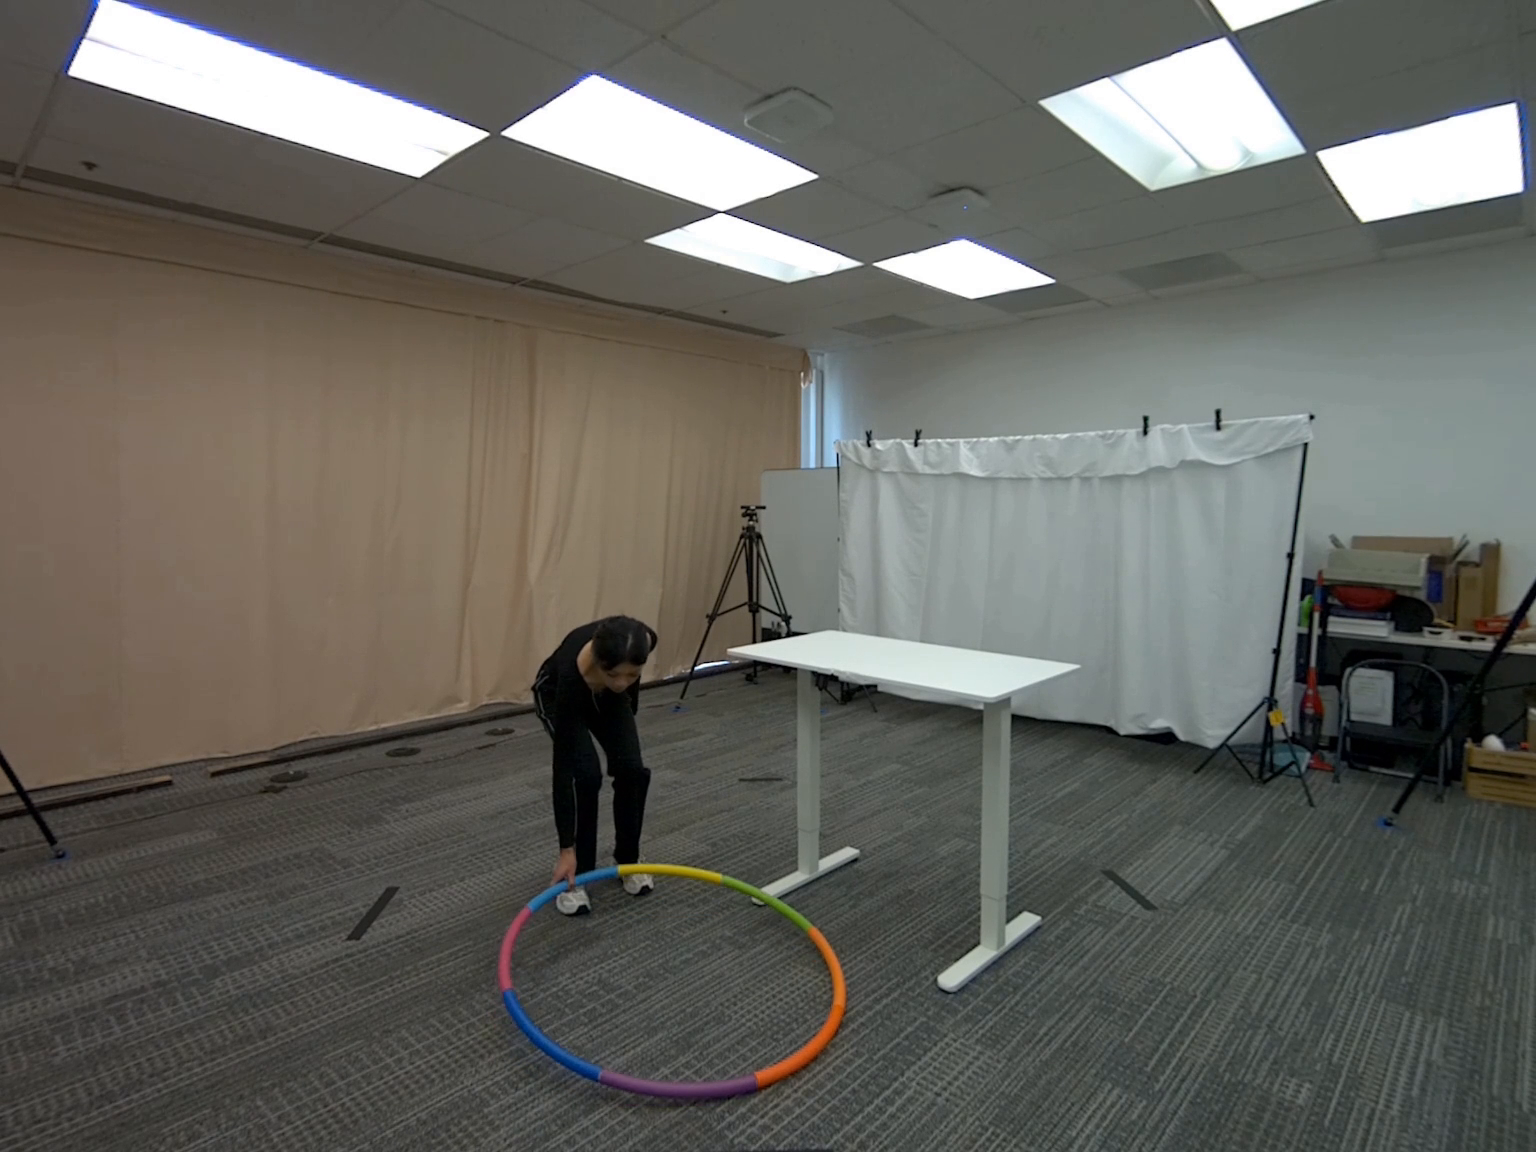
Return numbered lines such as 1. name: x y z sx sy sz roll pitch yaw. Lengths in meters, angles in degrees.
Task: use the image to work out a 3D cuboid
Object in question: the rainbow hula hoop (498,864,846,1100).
1. rainbow hula hoop: -0.256 1.093 2.431 0.977 0.035 0.986 5 11 -3
